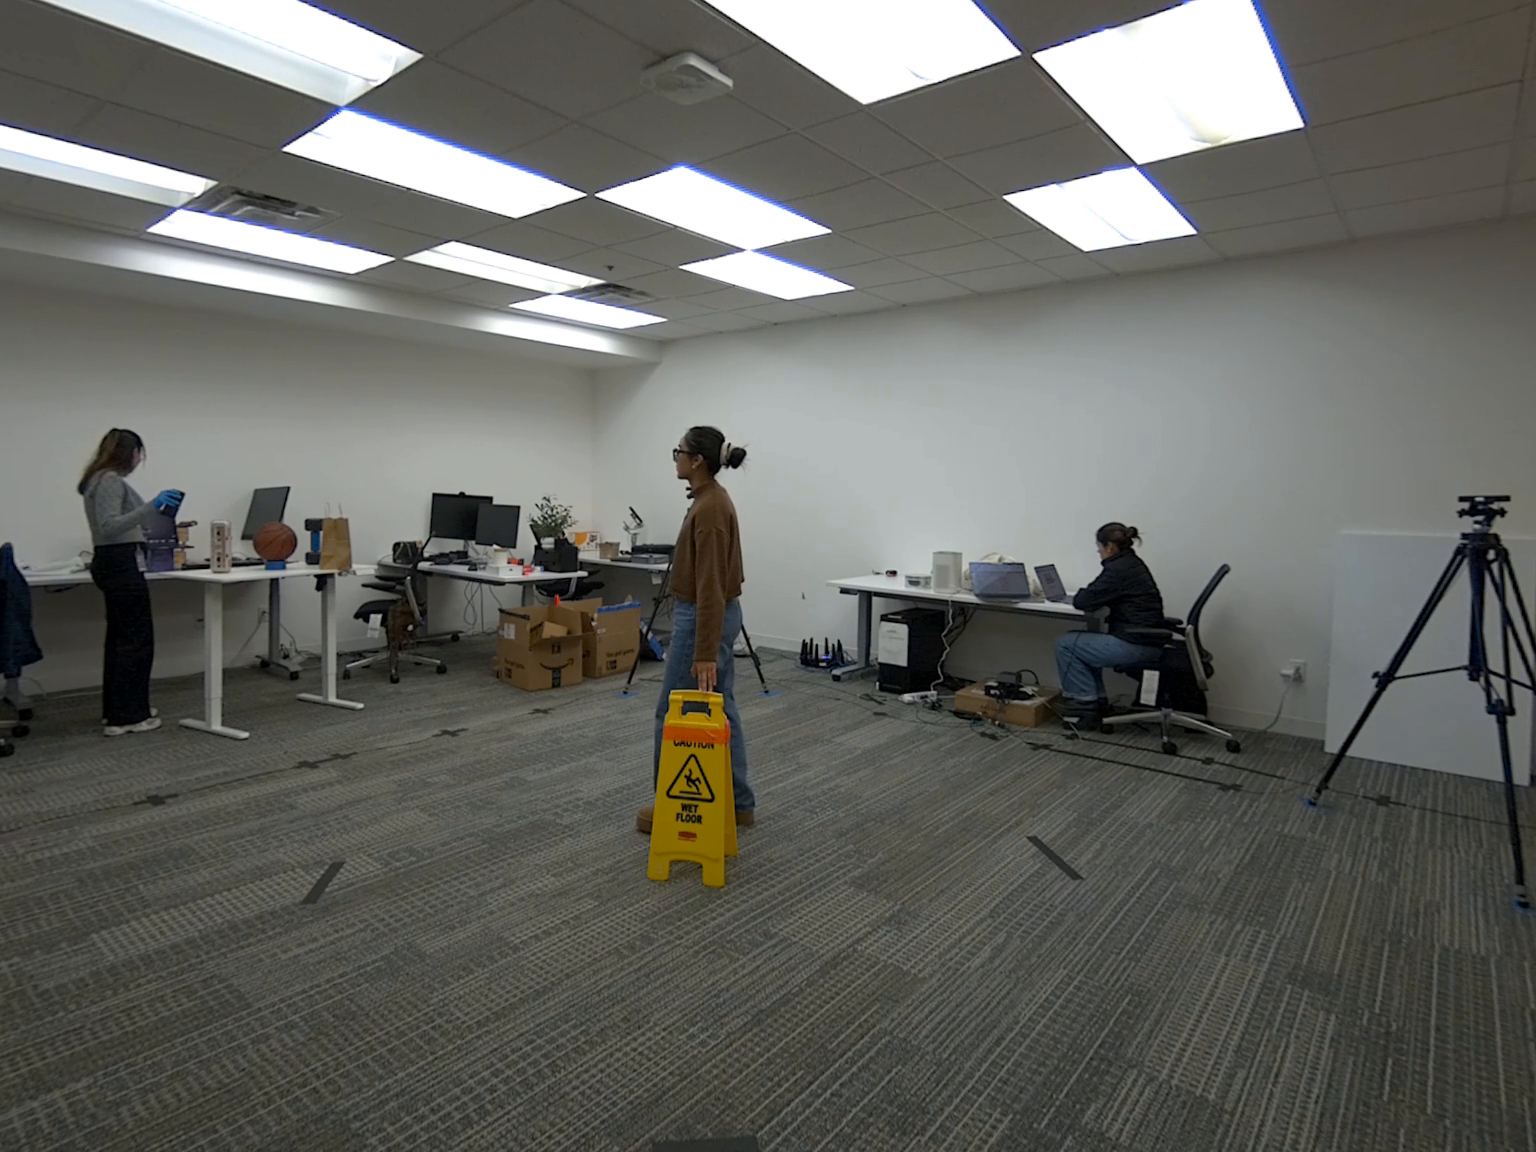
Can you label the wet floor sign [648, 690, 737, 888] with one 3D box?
[{"bbox_3d":[-0.281,0.740,3.102,0.286,0.644,0.287,0,4,10],"label":"wet floor sign"}]
